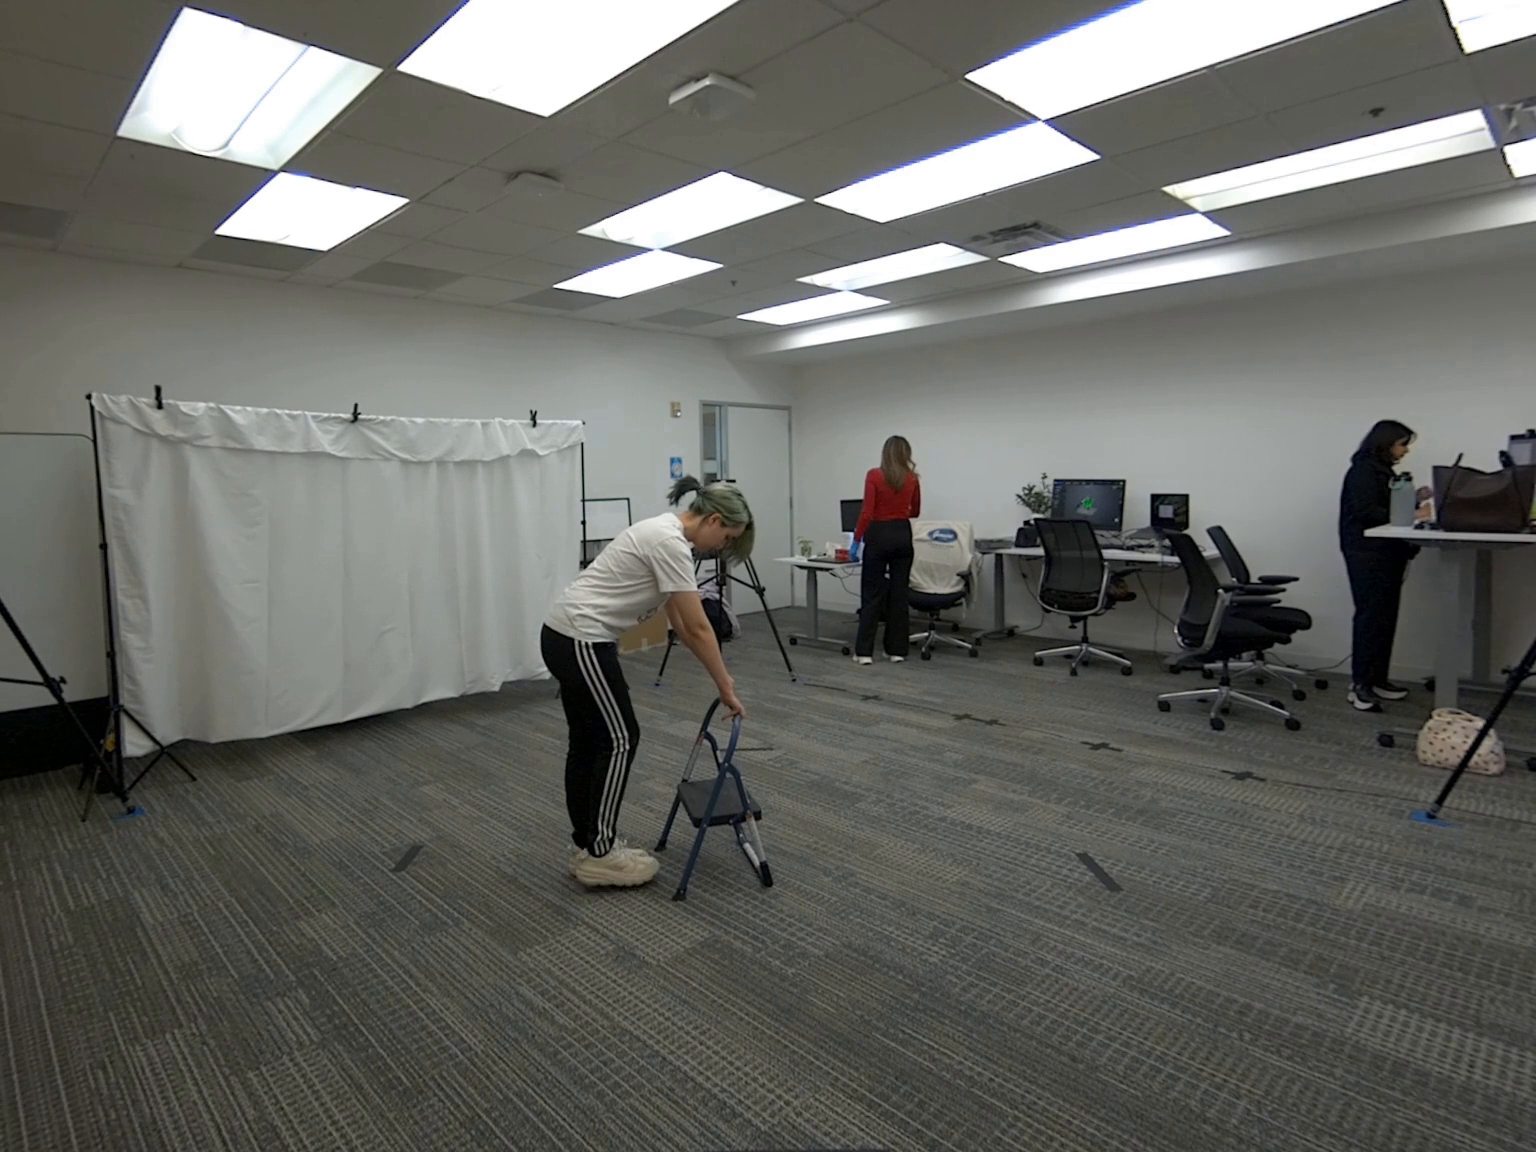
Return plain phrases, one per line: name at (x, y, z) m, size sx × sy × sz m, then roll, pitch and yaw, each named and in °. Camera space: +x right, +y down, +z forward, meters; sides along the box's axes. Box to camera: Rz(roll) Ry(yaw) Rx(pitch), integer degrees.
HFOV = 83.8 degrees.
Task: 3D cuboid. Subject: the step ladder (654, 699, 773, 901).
step ladder at (-0.209, 0.754, 3.071) m, size 0.344 × 0.604 × 0.438 m, roll -2°, pitch 5°, yaw -15°
